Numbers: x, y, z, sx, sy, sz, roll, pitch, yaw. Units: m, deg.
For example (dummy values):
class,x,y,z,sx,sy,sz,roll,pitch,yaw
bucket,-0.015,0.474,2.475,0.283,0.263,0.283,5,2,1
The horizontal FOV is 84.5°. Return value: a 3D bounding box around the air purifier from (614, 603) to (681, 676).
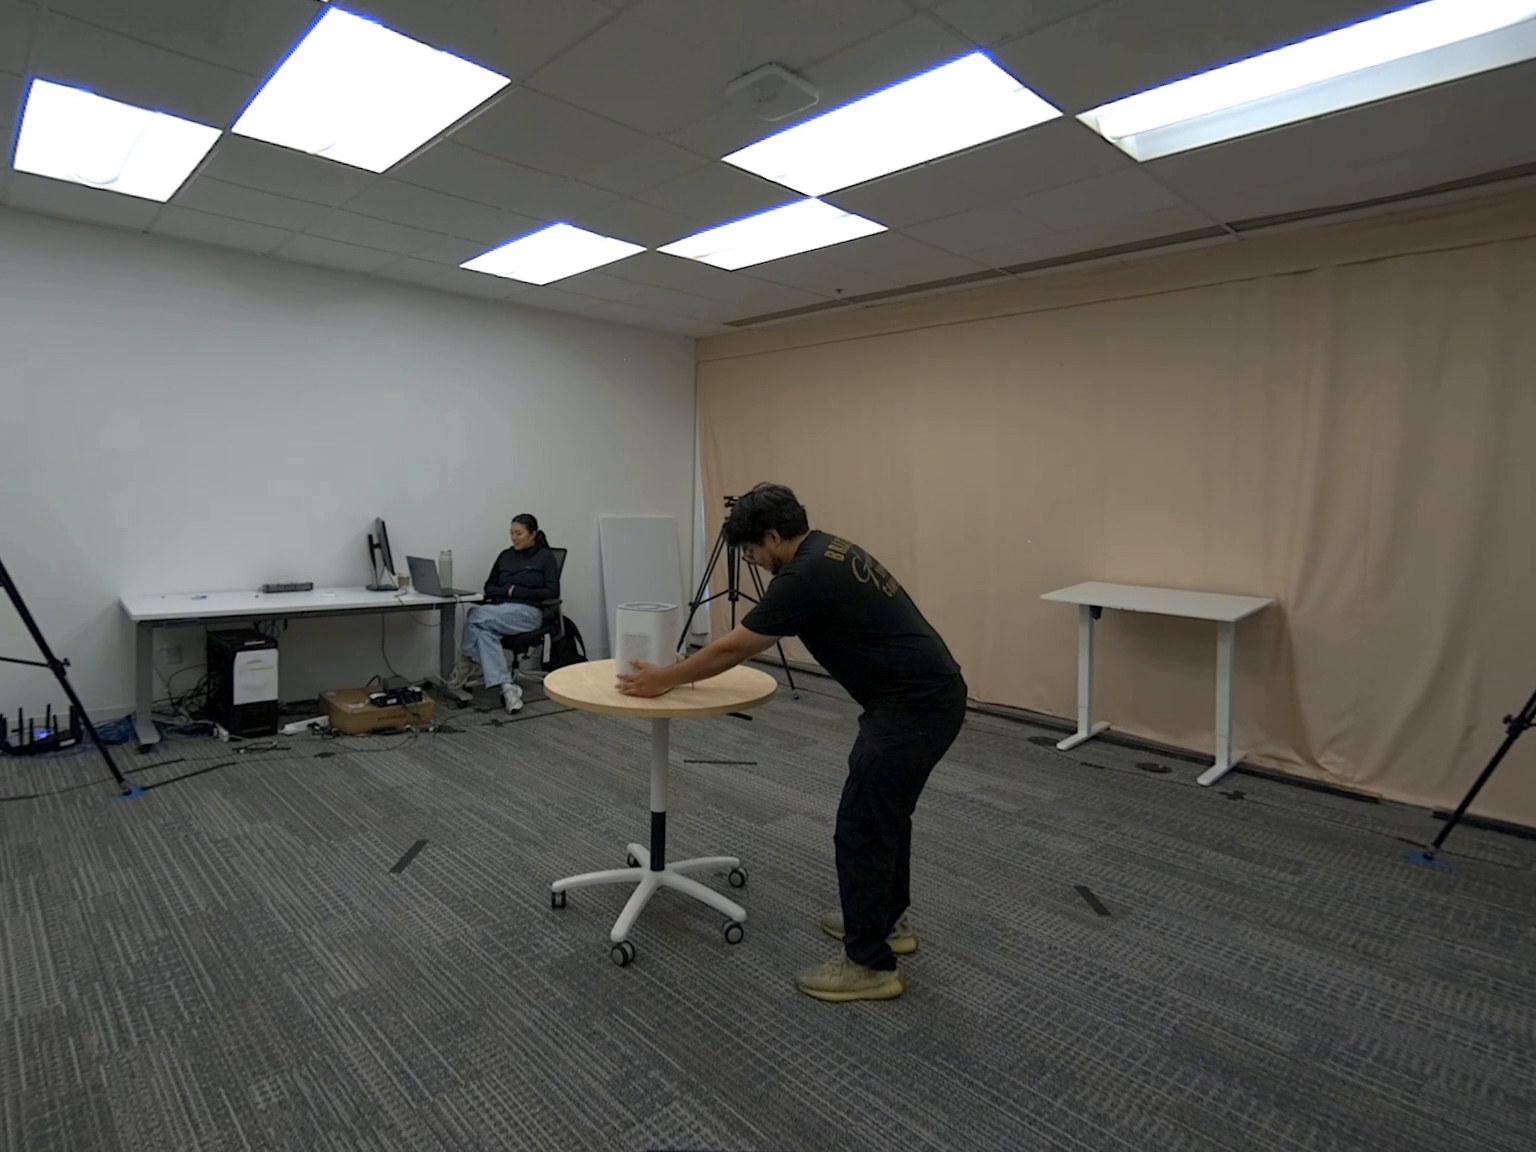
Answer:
class,x,y,z,sx,sy,sz,roll,pitch,yaw
air purifier,-0.380,0.224,2.631,0.174,0.265,0.169,3,4,15
